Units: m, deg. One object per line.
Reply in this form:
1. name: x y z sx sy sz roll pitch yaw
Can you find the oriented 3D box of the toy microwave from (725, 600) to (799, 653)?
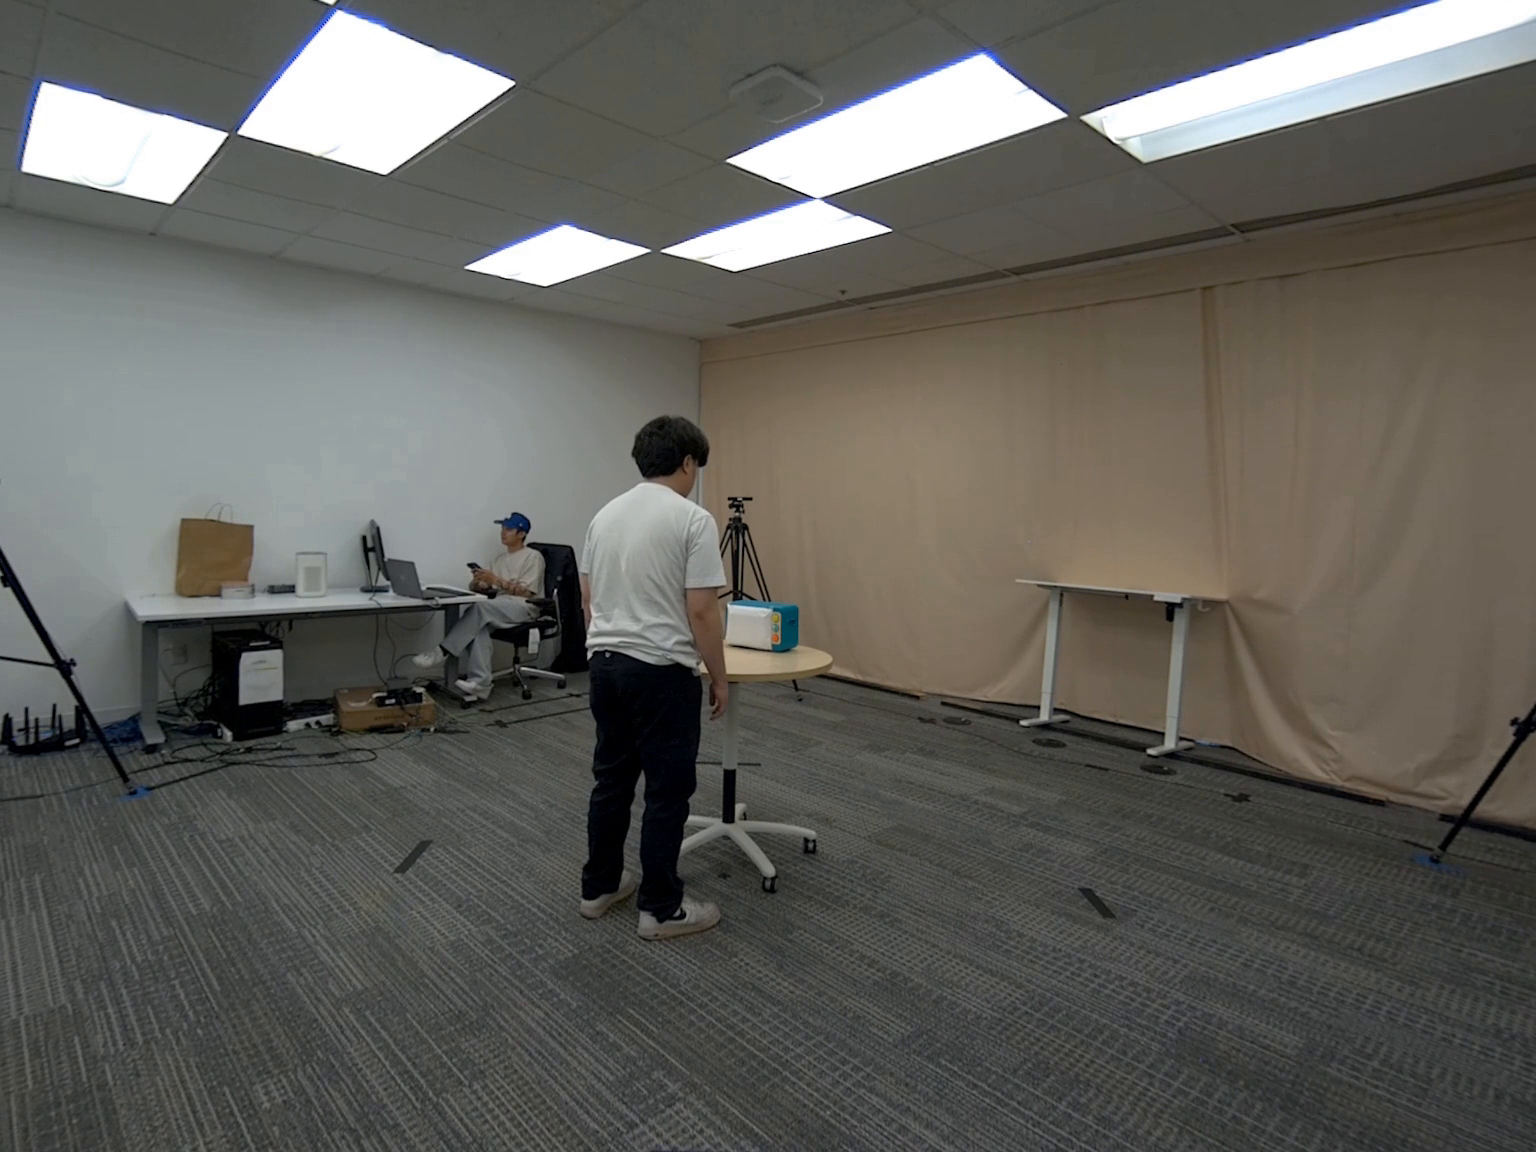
1. toy microwave: -0.039 0.201 3.401 0.293 0.184 0.149 4 4 33
